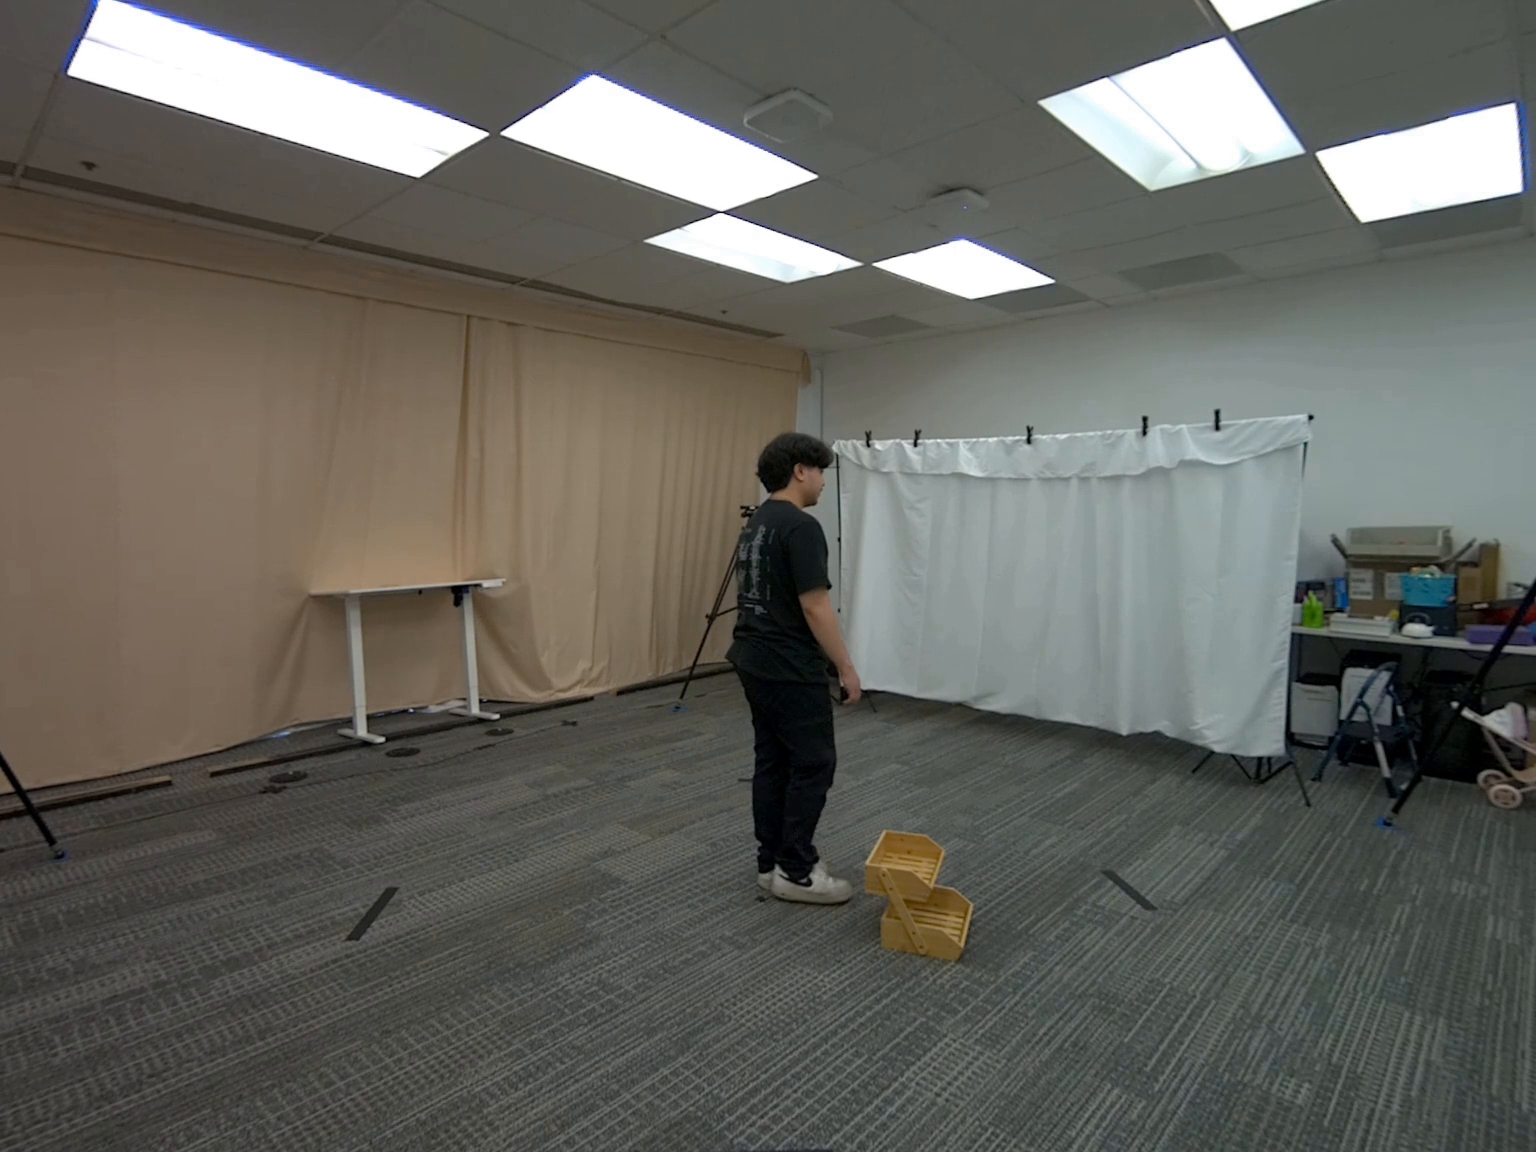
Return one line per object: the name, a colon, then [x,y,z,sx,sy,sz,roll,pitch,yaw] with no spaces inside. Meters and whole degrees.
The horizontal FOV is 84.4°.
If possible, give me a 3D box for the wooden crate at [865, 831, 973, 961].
wooden crate: [0.510,1.031,2.743,0.309,0.273,0.318,1,4,21]
